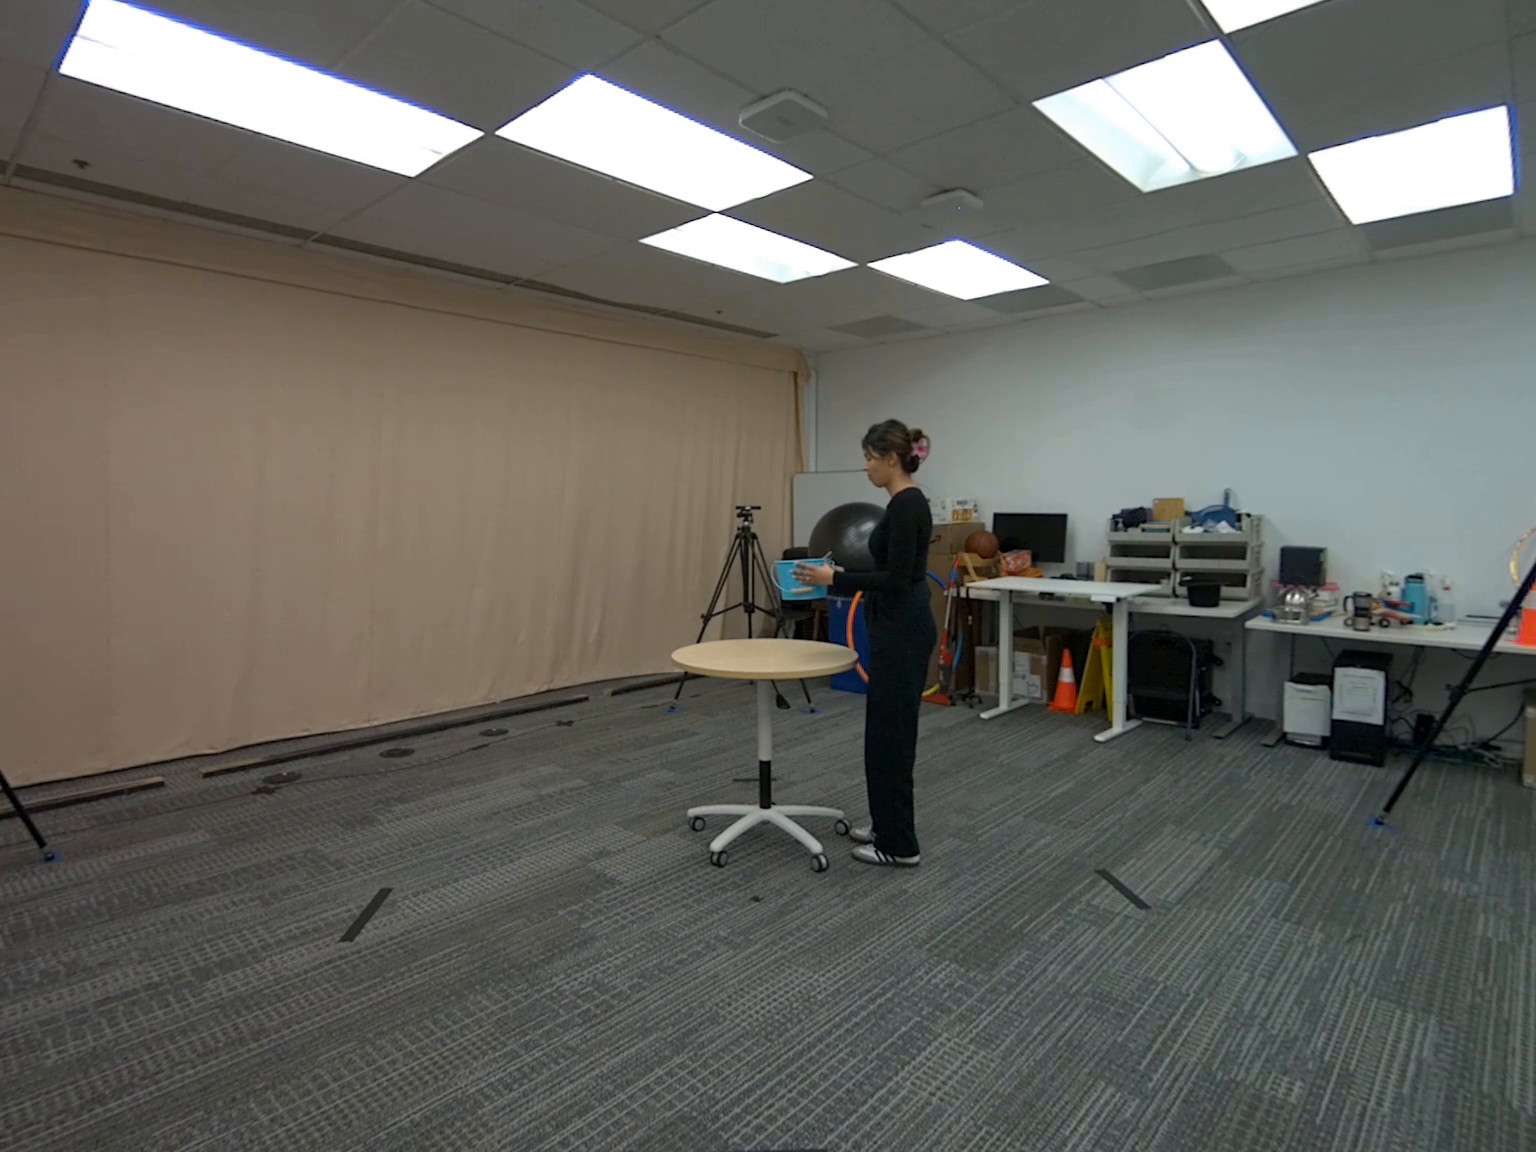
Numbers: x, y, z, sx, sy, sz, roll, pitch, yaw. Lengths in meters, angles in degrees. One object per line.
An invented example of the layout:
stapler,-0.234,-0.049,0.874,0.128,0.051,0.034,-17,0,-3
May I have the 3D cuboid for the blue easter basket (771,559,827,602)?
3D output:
blue easter basket,0.153,0.018,3.394,0.243,0.156,0.244,0,-1,-2
